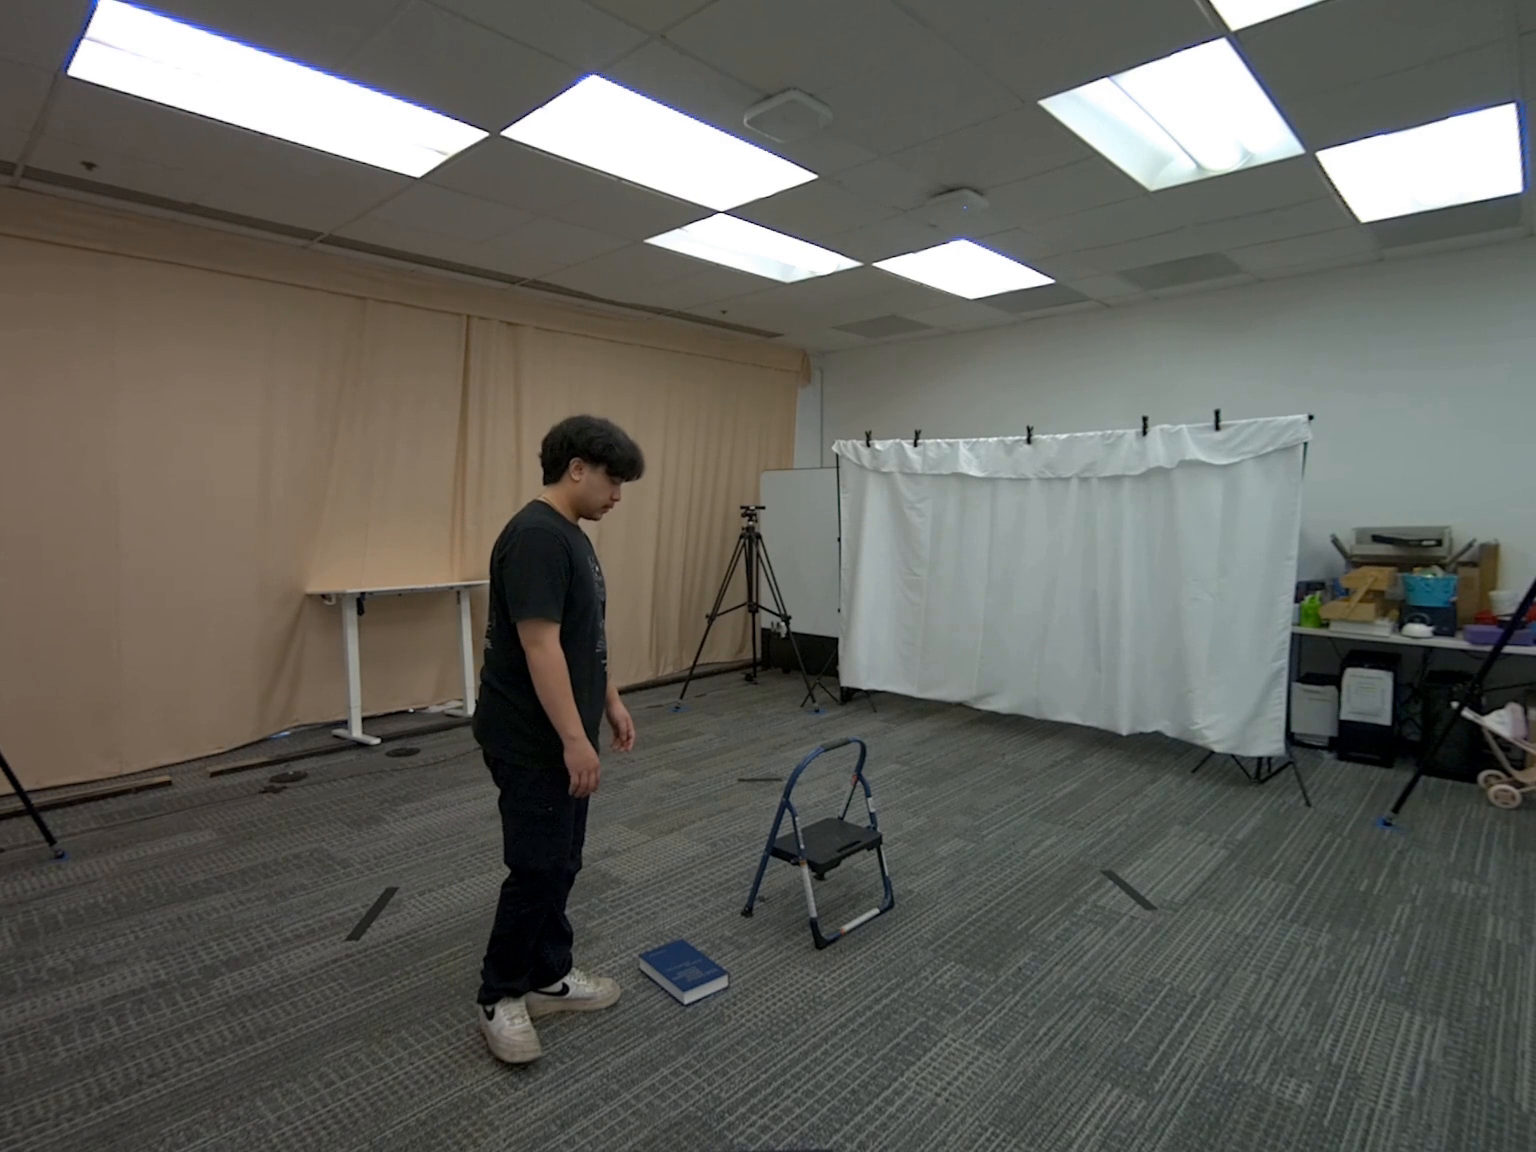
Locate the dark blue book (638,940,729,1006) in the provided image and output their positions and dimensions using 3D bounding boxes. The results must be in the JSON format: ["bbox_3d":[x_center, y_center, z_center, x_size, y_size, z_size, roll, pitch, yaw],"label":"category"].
[{"bbox_3d":[-0.251,1.169,2.476,0.158,0.045,0.253,-4,6,-39],"label":"dark blue book"}]
